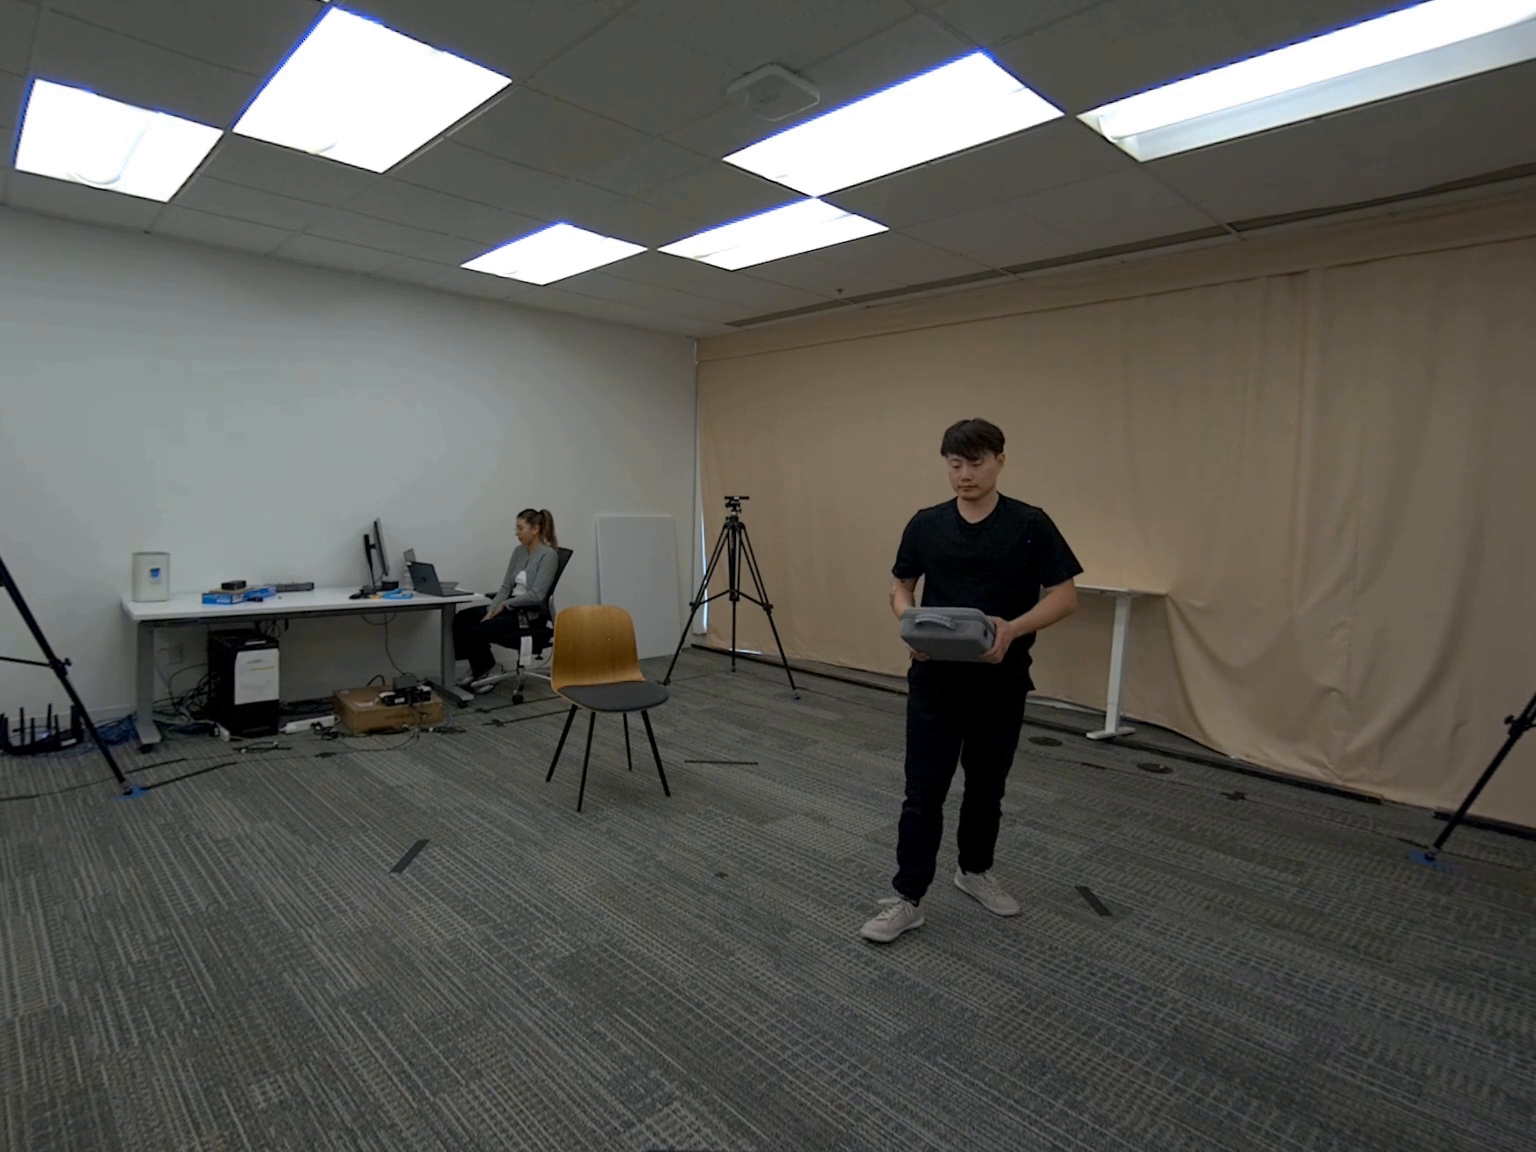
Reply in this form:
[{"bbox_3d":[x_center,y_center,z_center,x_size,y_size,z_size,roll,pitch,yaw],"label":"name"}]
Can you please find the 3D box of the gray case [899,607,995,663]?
[{"bbox_3d":[0.548,0.171,2.561,0.262,0.105,0.252,0,-19,33],"label":"gray case"}]
